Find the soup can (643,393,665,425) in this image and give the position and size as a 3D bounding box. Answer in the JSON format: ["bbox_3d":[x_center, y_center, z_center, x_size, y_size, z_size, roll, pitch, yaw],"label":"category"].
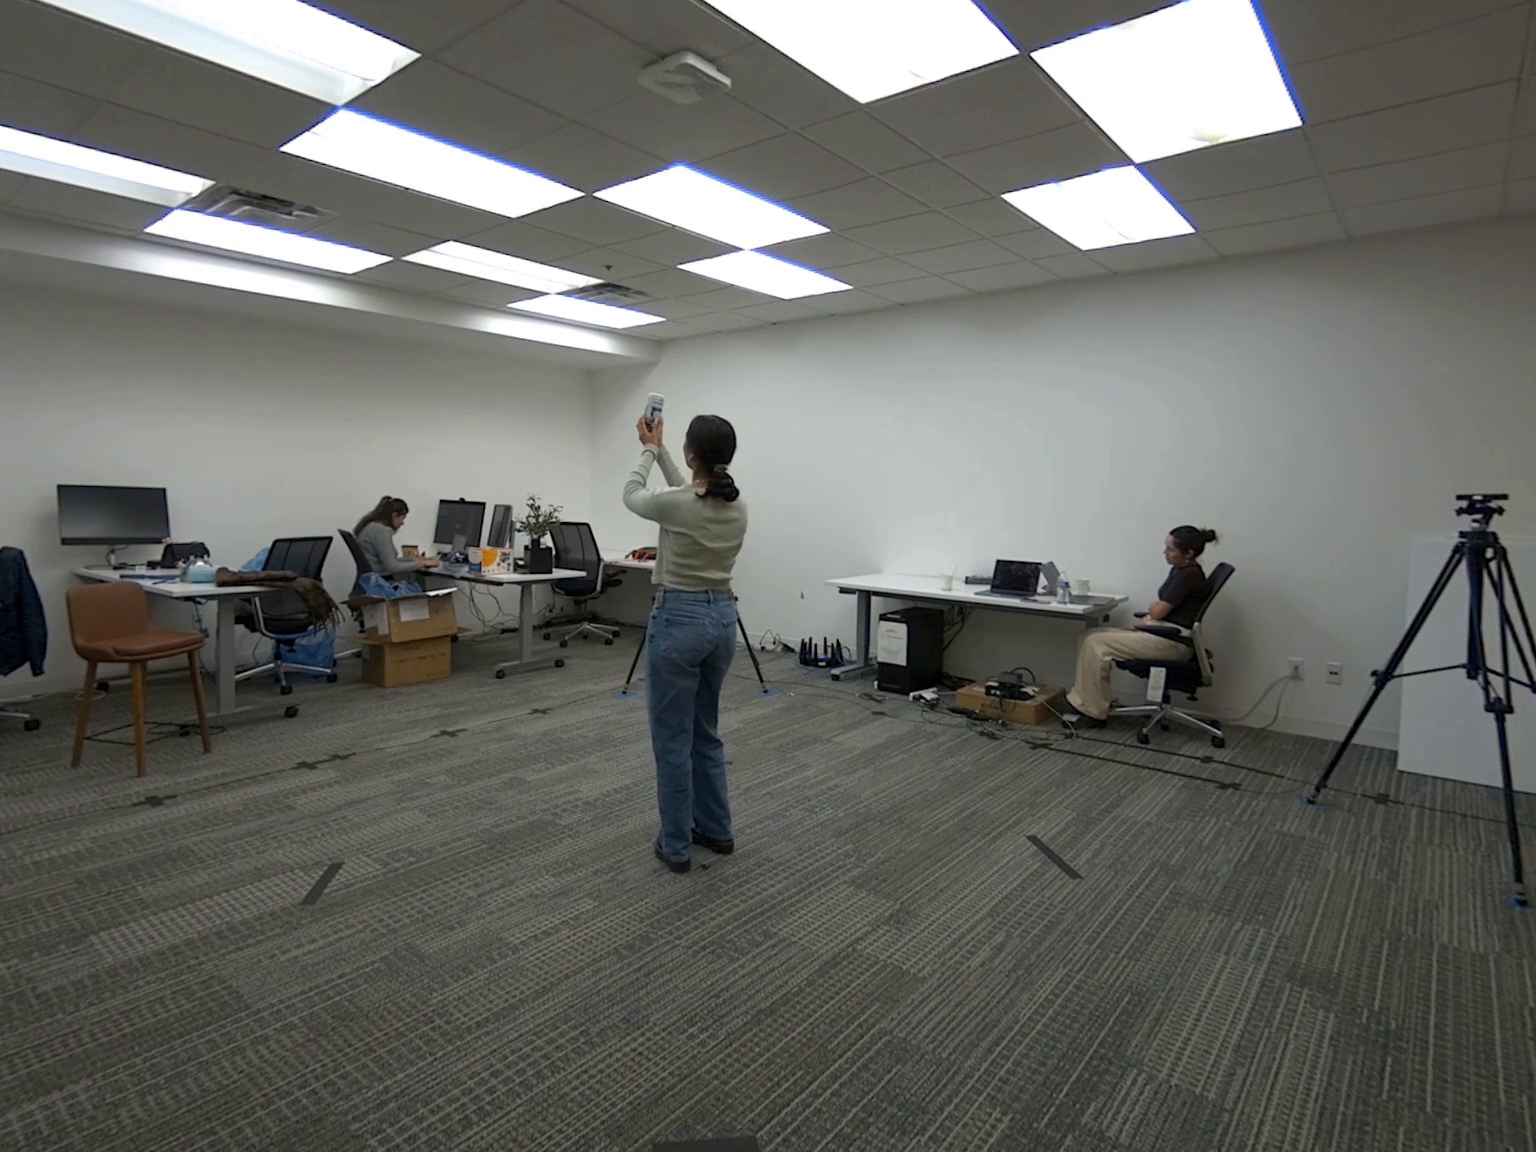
[{"bbox_3d":[-0.464,-0.668,3.390,0.067,0.121,0.067,7,0,-2],"label":"soup can"}]
